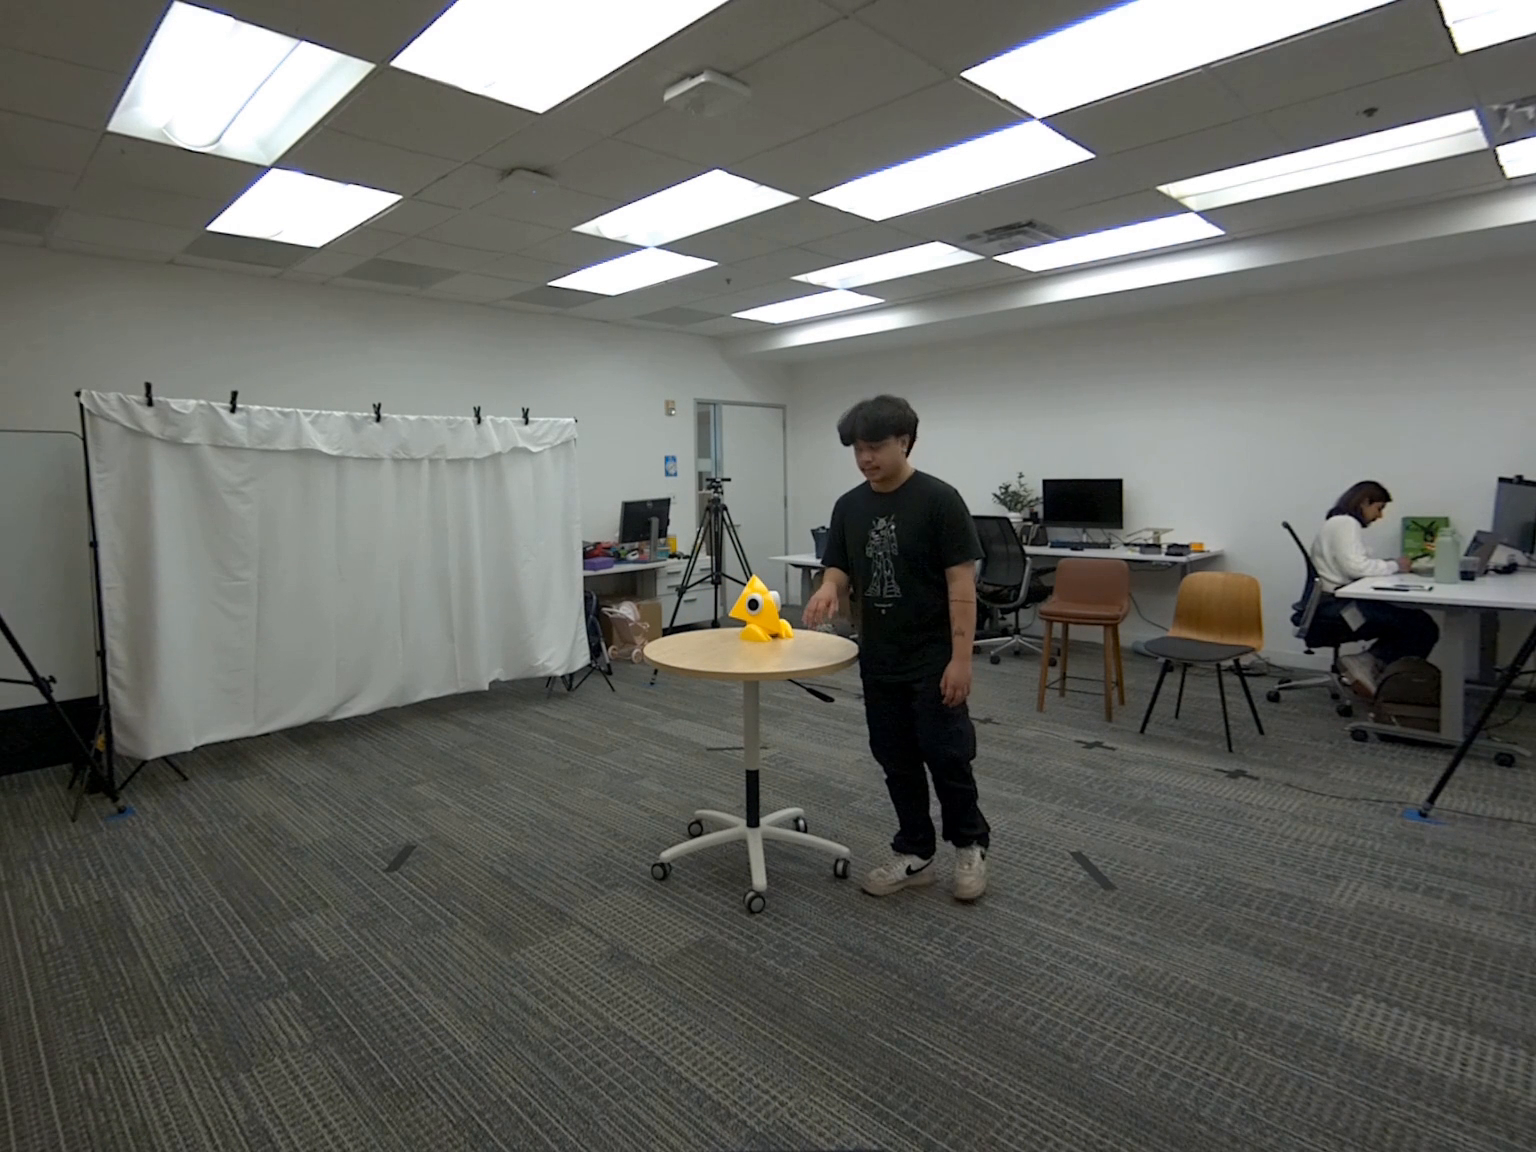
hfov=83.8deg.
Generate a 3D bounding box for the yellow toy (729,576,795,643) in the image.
[{"bbox_3d":[-0.011,0.115,3.246,0.199,0.230,0.199,-5,6,-38],"label":"yellow toy"}]
